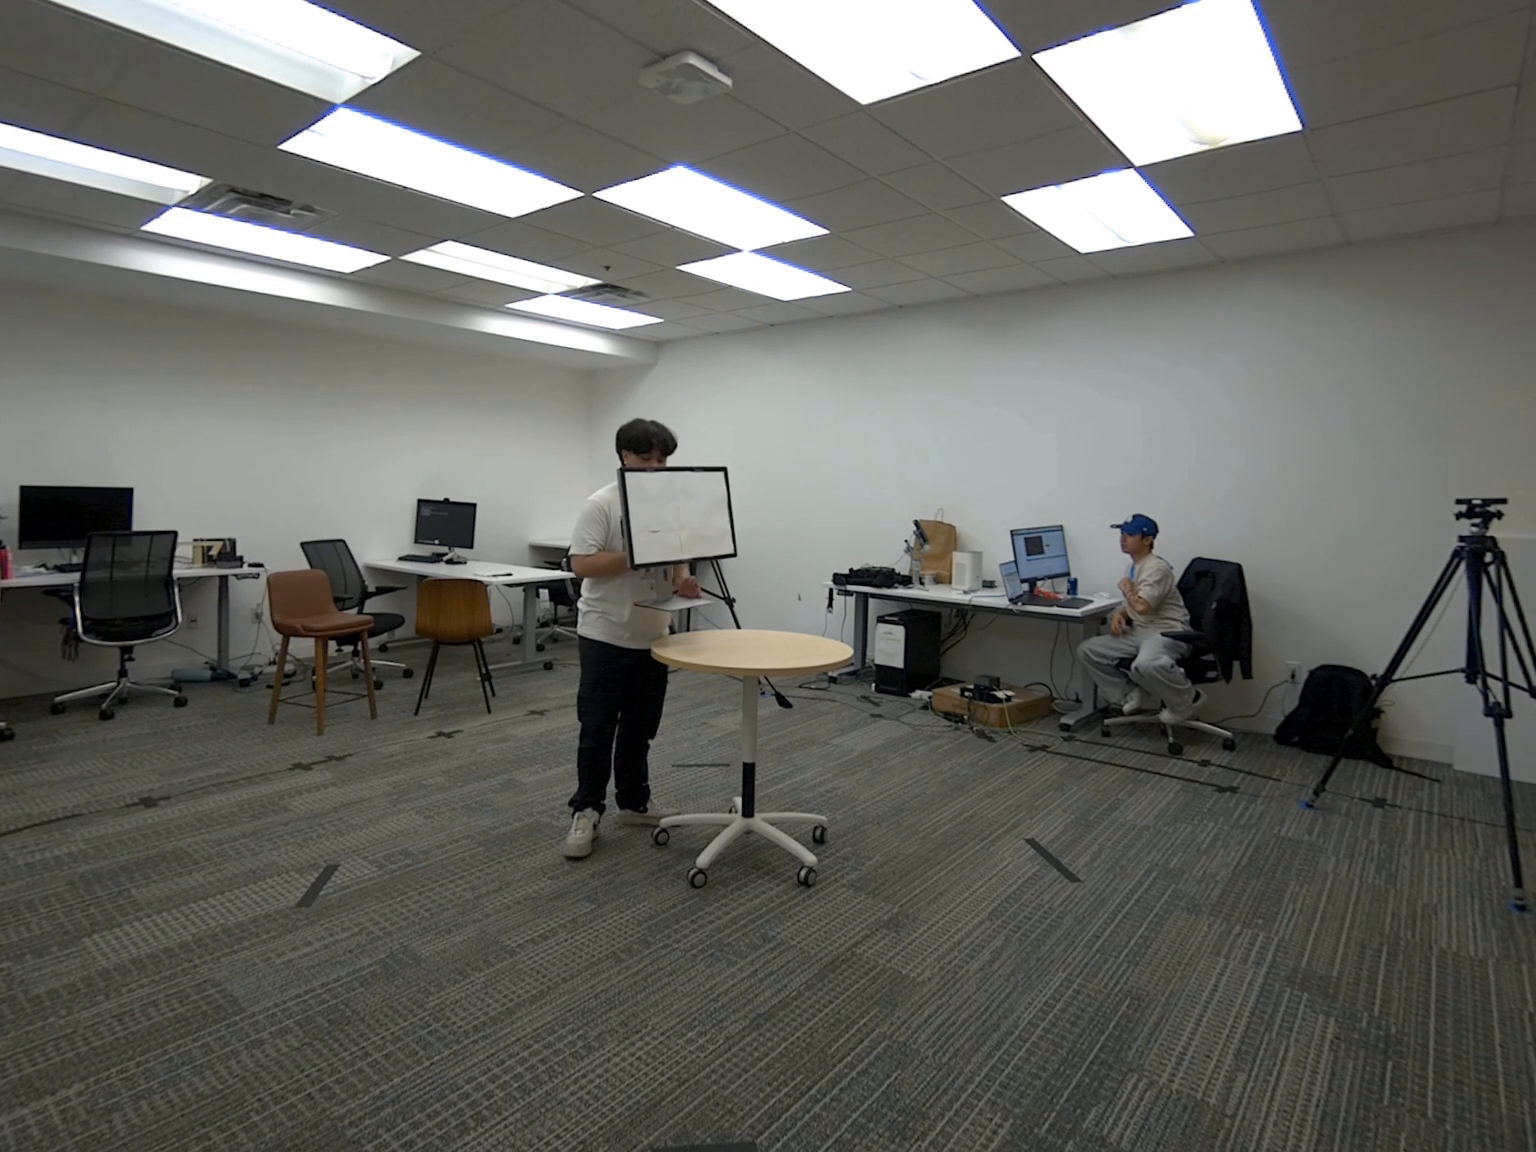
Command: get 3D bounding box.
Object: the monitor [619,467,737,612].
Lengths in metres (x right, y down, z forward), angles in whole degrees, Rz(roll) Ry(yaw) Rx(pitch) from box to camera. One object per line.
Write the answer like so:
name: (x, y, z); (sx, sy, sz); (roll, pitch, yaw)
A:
monitor: (-0.391, -0.147, 3.239); (0.217, 0.552, 0.550); (0, 5, 41)
